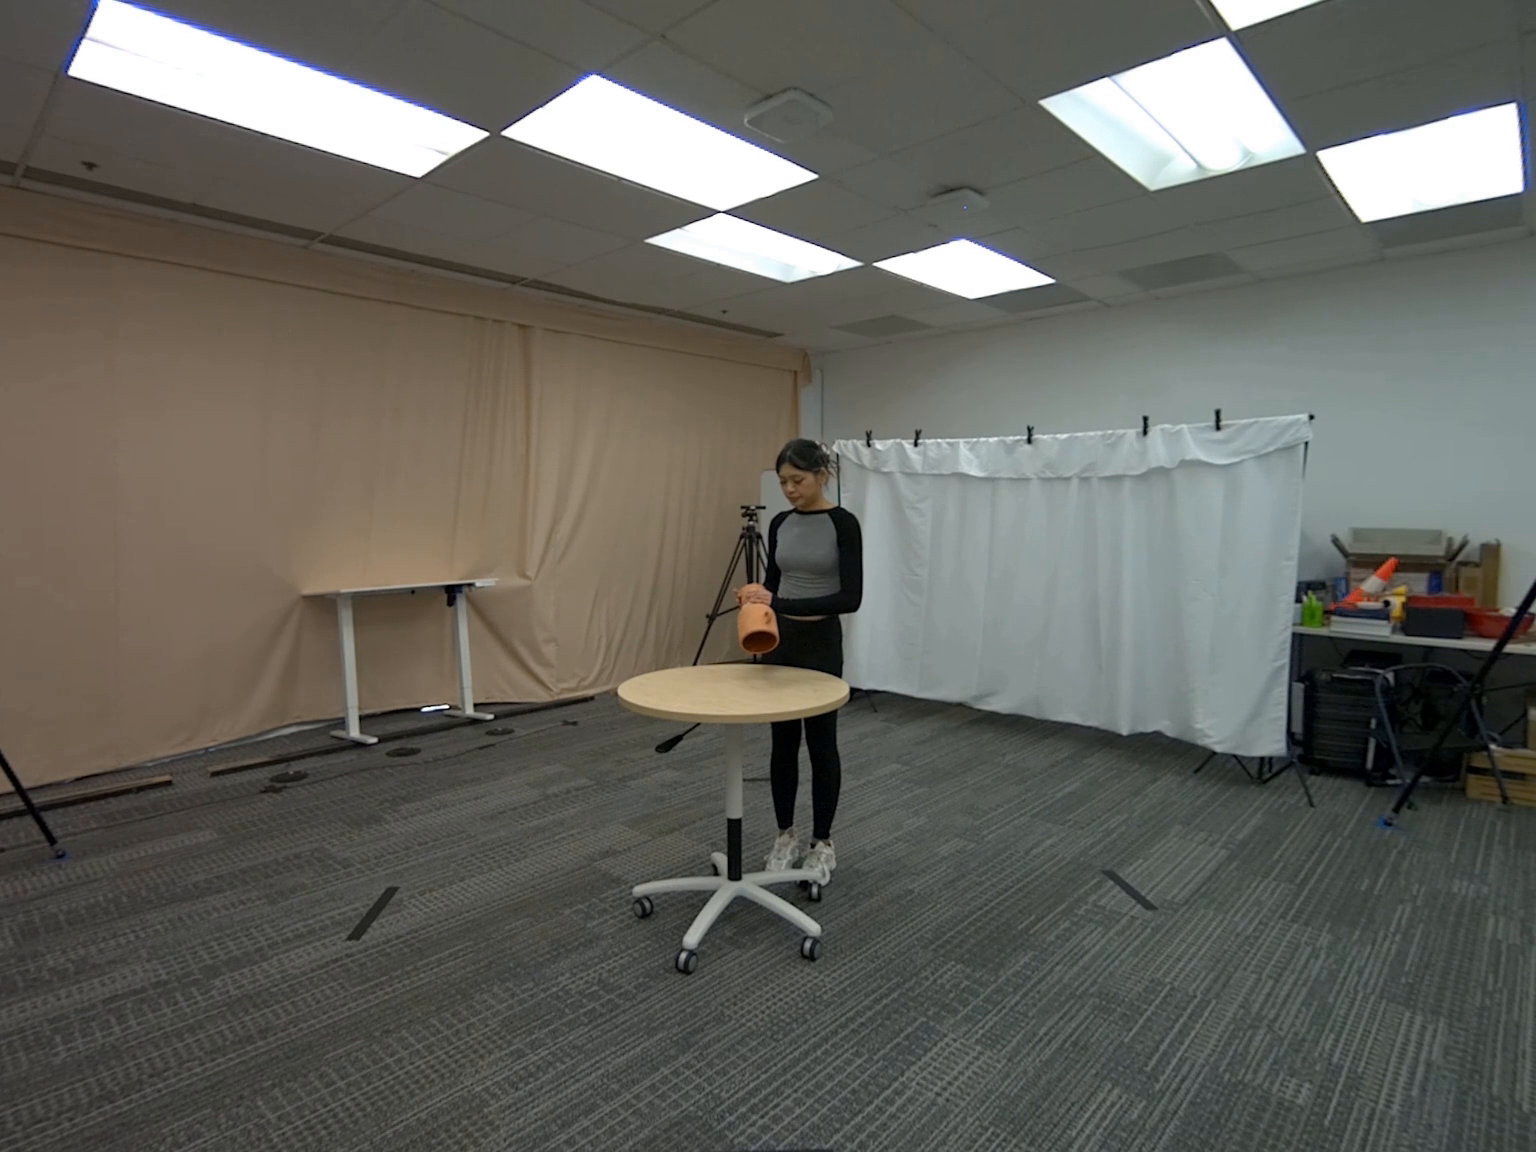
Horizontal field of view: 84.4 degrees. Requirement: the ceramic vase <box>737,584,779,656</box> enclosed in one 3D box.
[{"bbox_3d":[-0.039,0.137,2.893,0.161,0.224,0.130,-20,-46,15],"label":"ceramic vase"}]
